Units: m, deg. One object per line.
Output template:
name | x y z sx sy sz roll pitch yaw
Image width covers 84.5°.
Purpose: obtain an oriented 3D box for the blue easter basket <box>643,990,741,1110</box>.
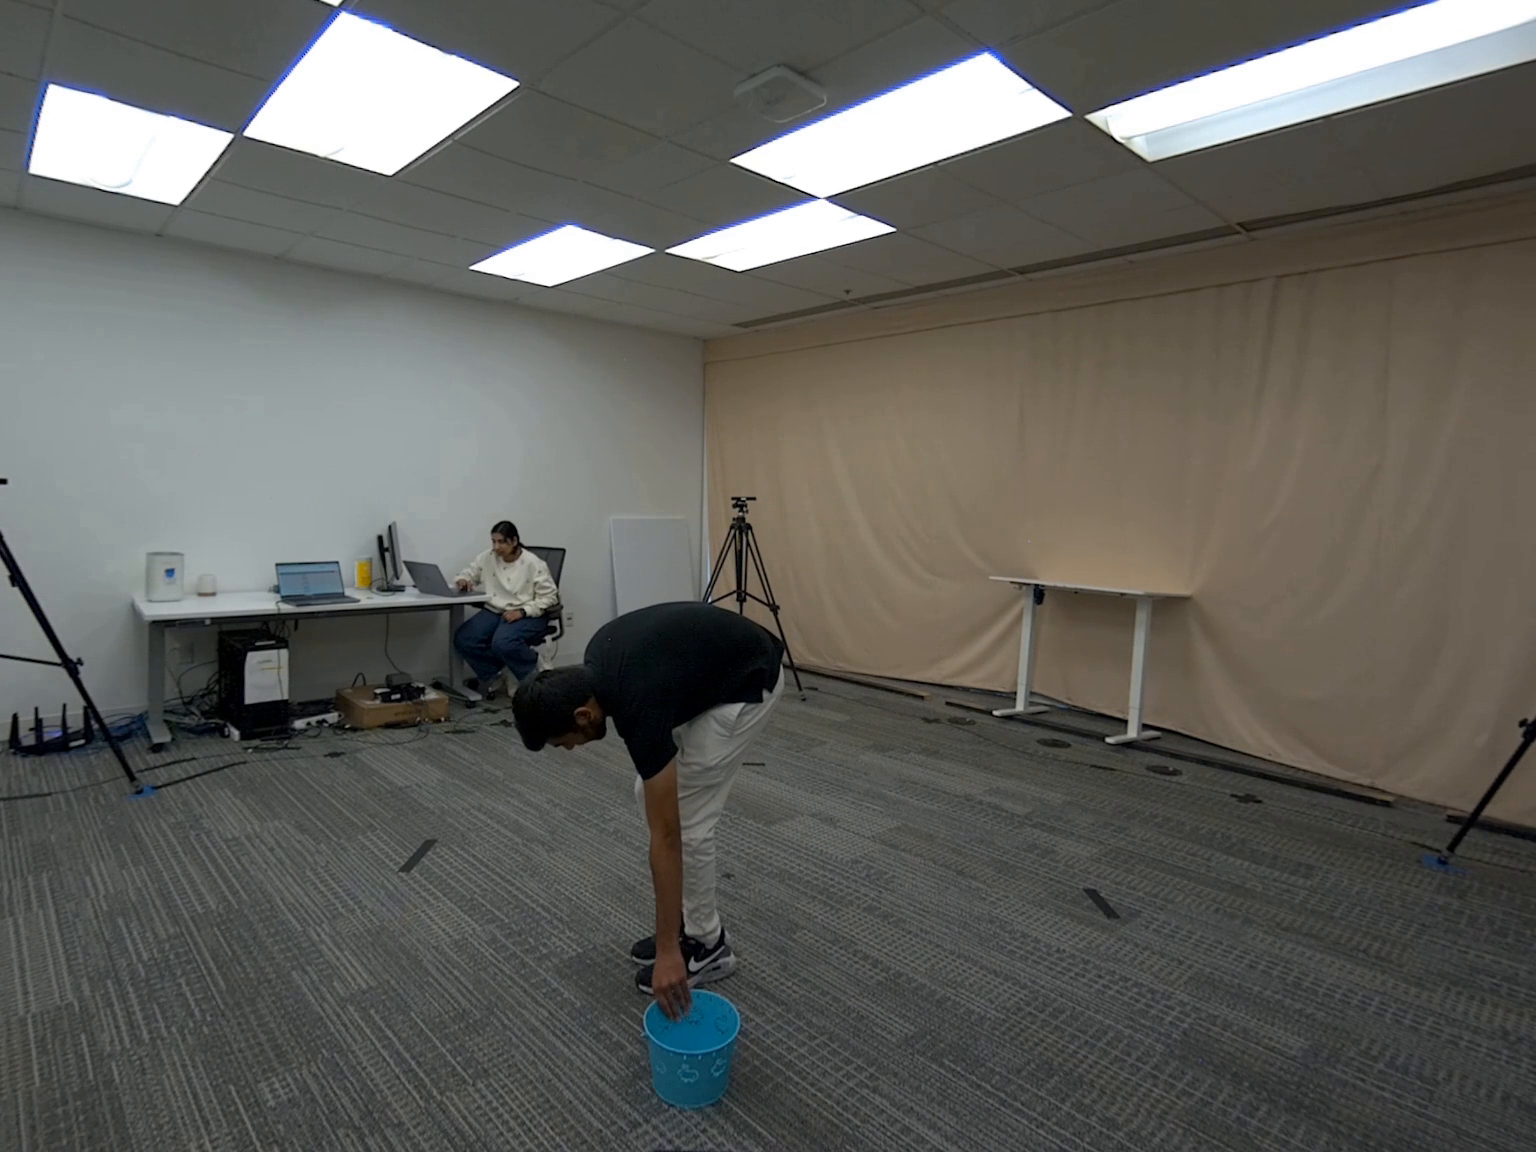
blue easter basket | -0.196 1.136 2.003 0.243 0.155 0.245 2 7 -2
